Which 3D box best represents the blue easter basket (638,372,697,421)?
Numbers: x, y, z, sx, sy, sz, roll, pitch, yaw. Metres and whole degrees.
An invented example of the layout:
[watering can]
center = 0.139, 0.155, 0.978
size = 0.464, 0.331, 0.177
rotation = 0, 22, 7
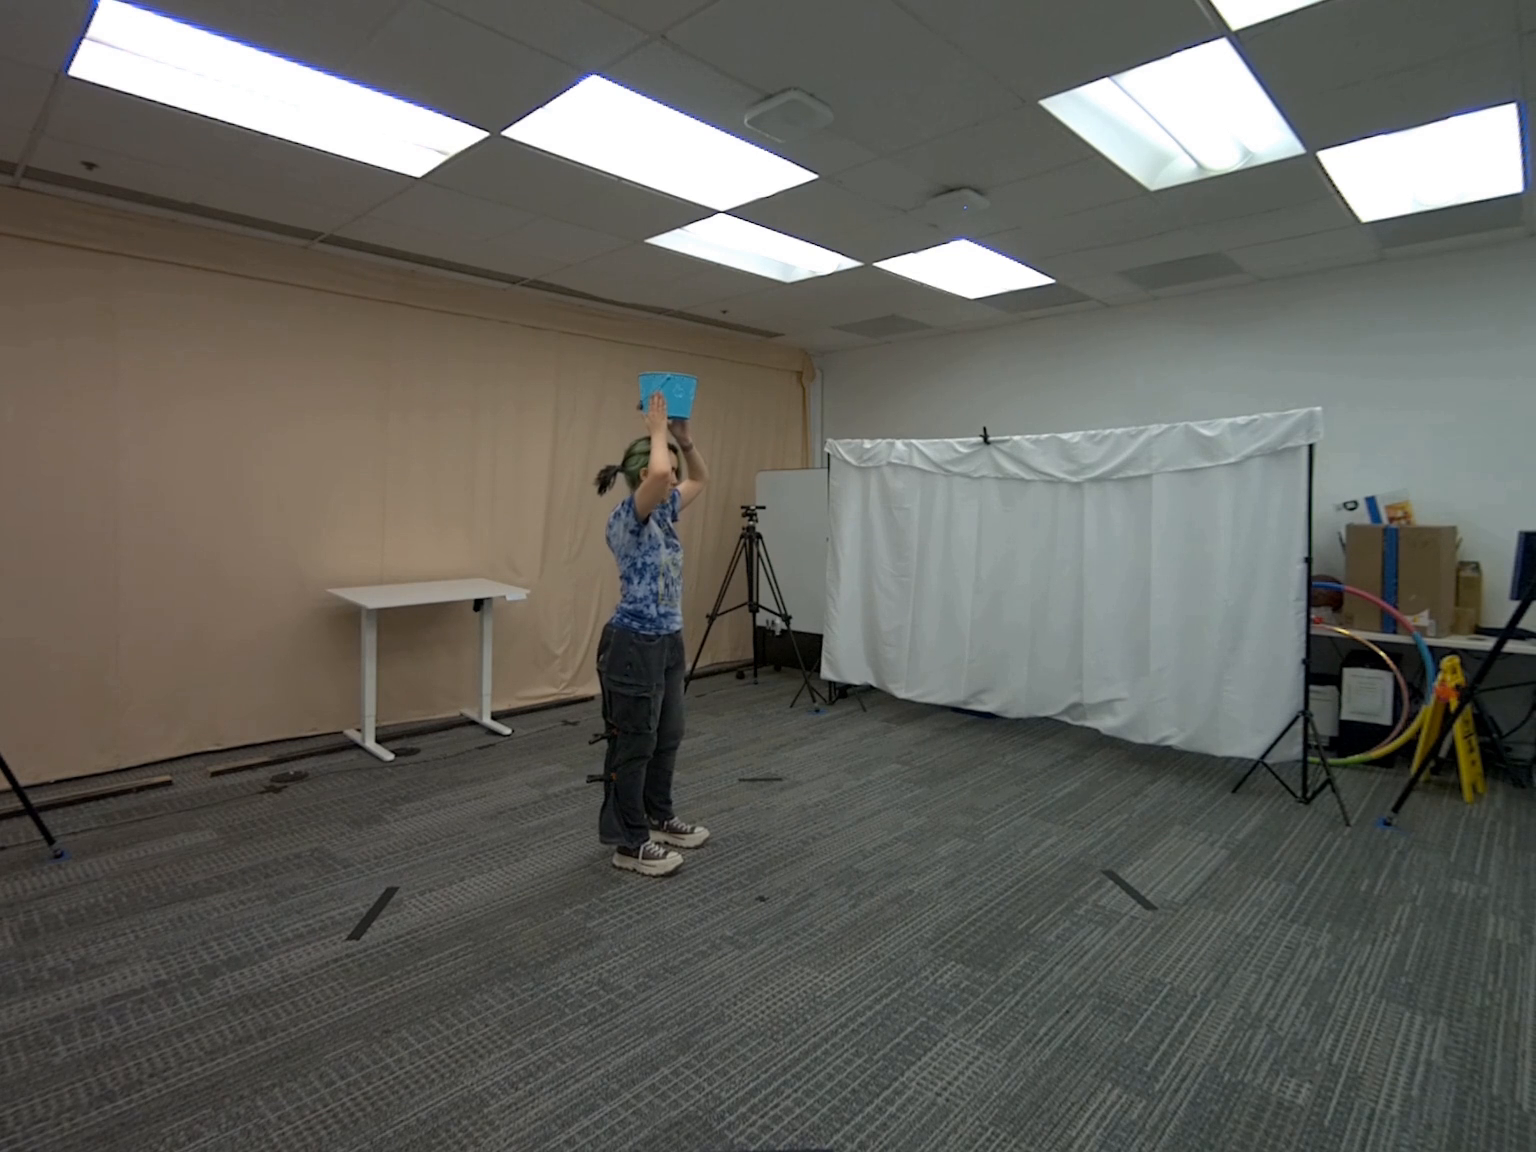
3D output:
[blue easter basket]
center = -0.390, -0.681, 3.209
size = 0.243, 0.155, 0.244
rotation = 3, 4, -2
